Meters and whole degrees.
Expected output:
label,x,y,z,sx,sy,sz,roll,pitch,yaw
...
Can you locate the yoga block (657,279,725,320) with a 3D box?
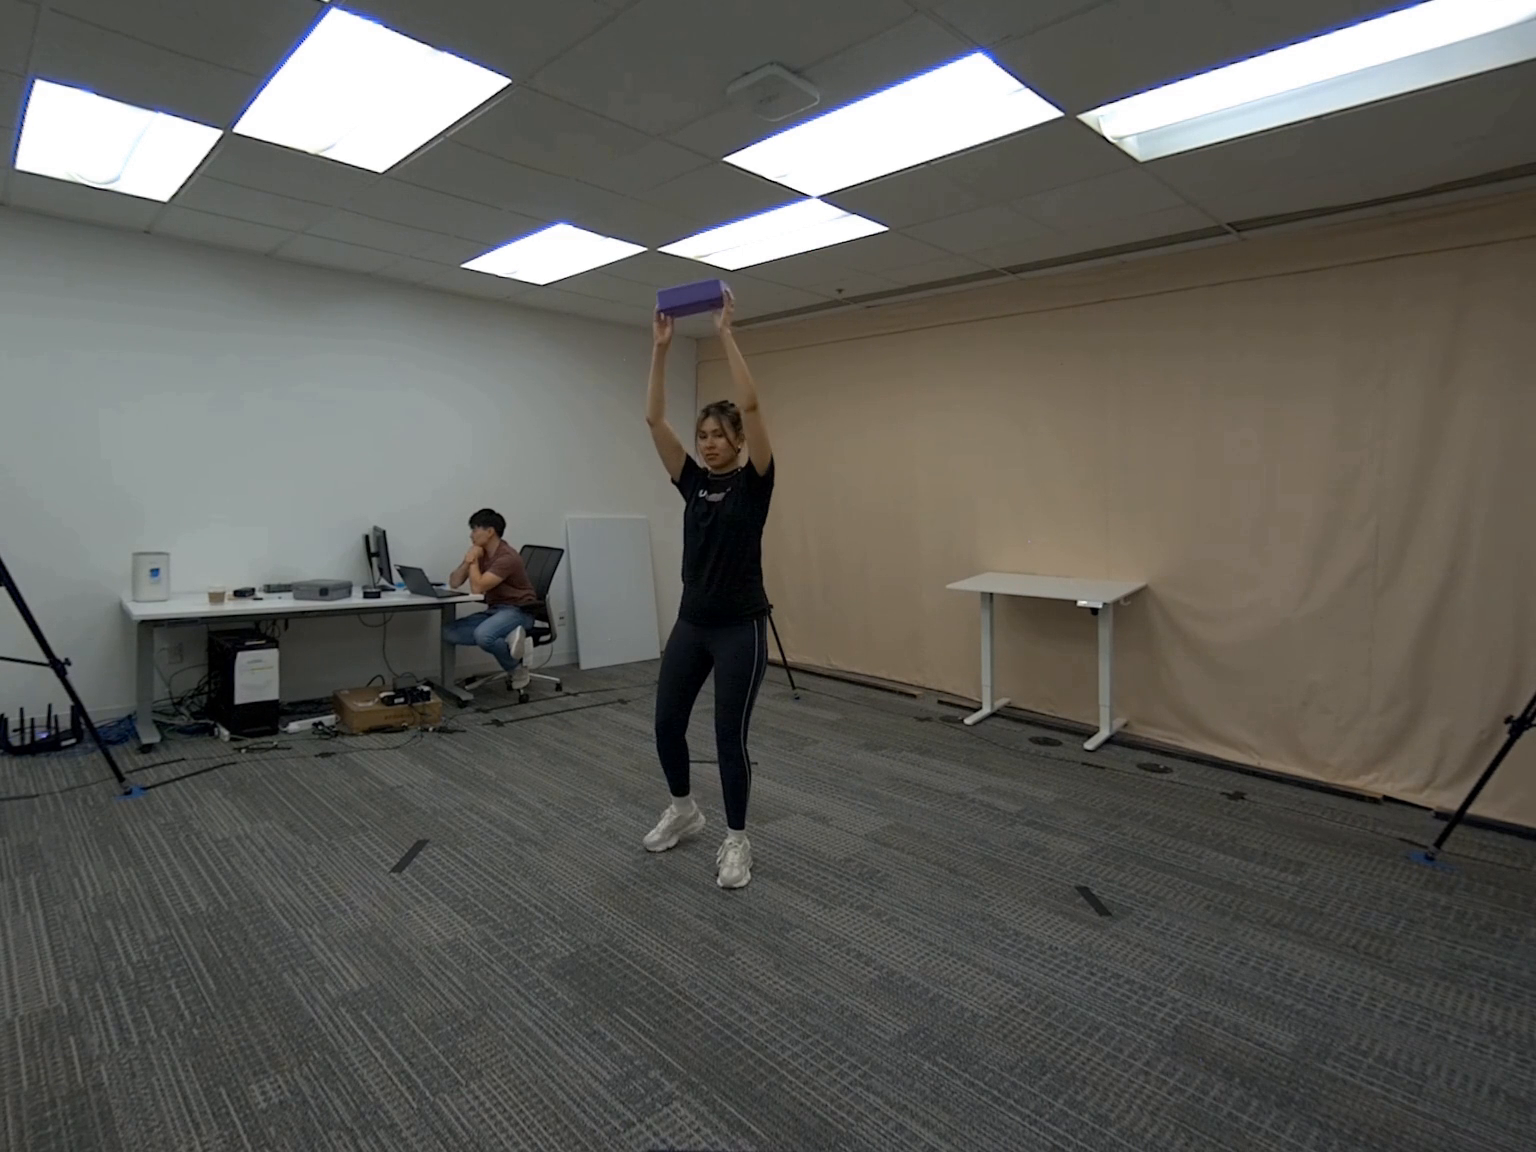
label,x,y,z,sx,sy,sz,roll,pitch,yaw
yoga block,-0.262,-0.965,2.920,0.232,0.076,0.148,-7,6,16
